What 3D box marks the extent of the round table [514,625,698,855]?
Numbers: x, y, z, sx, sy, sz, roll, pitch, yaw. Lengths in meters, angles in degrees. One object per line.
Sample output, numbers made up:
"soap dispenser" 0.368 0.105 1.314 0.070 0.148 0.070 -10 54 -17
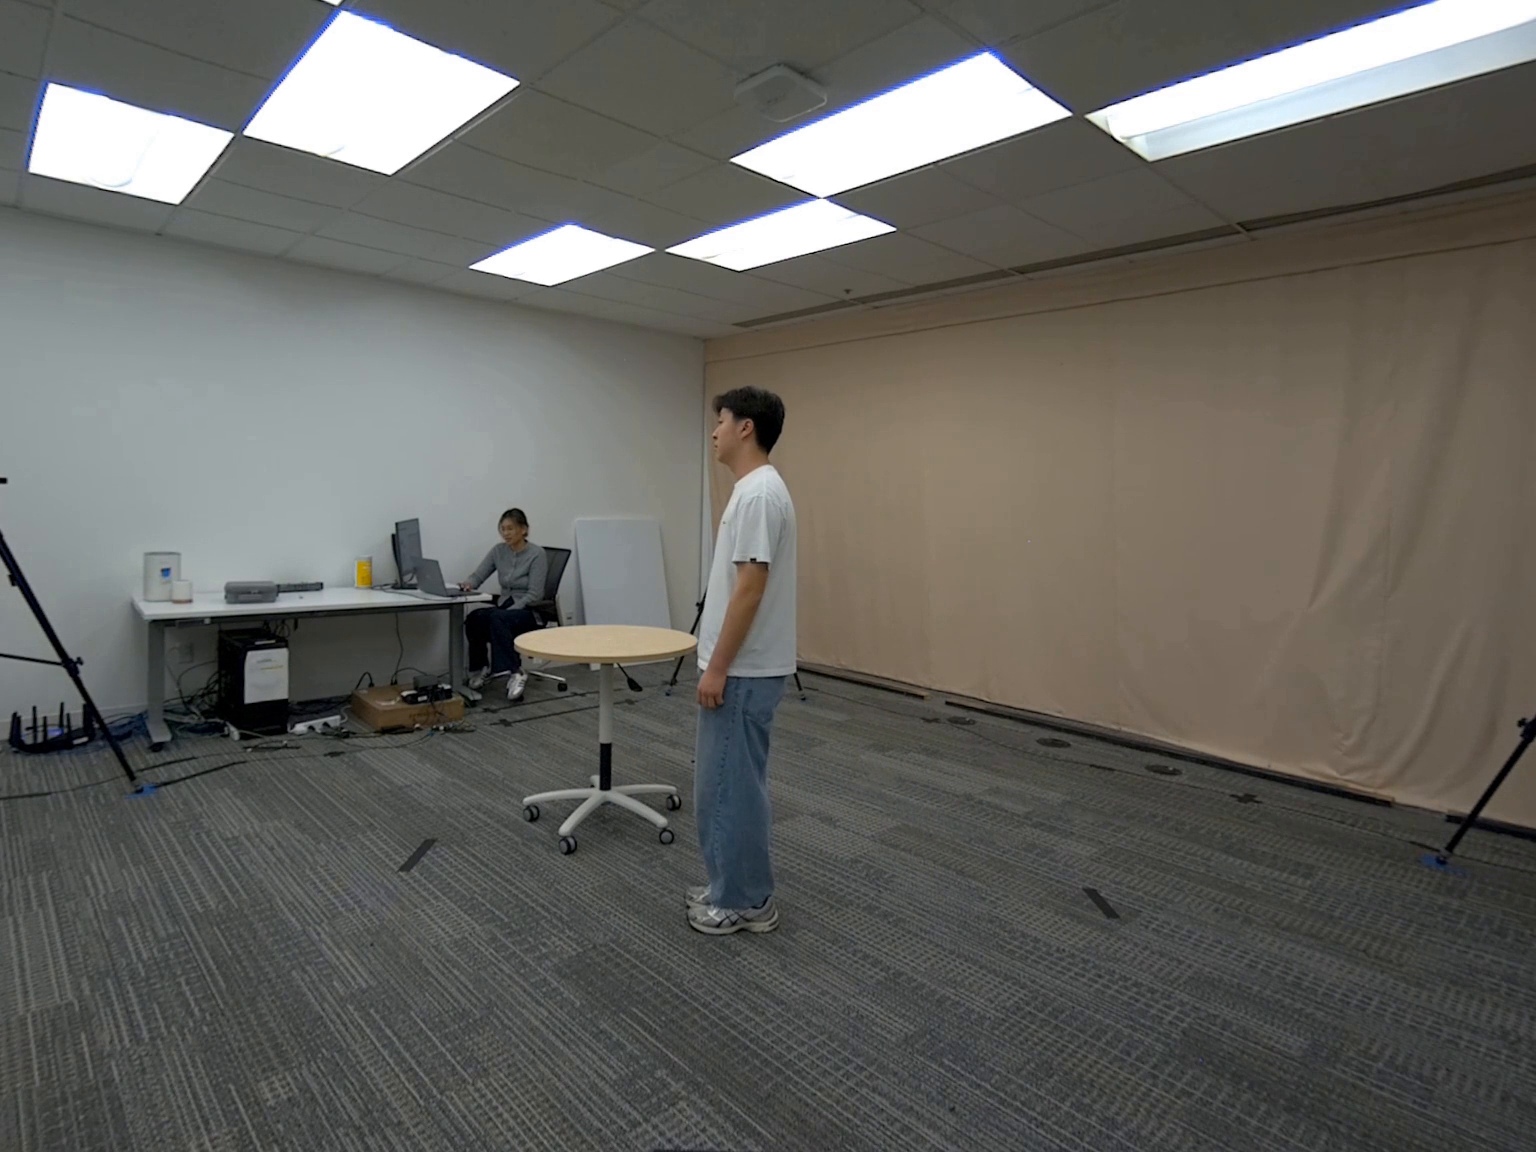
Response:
"round table" -0.692 0.664 3.566 0.763 0.792 0.766 1 4 -1
